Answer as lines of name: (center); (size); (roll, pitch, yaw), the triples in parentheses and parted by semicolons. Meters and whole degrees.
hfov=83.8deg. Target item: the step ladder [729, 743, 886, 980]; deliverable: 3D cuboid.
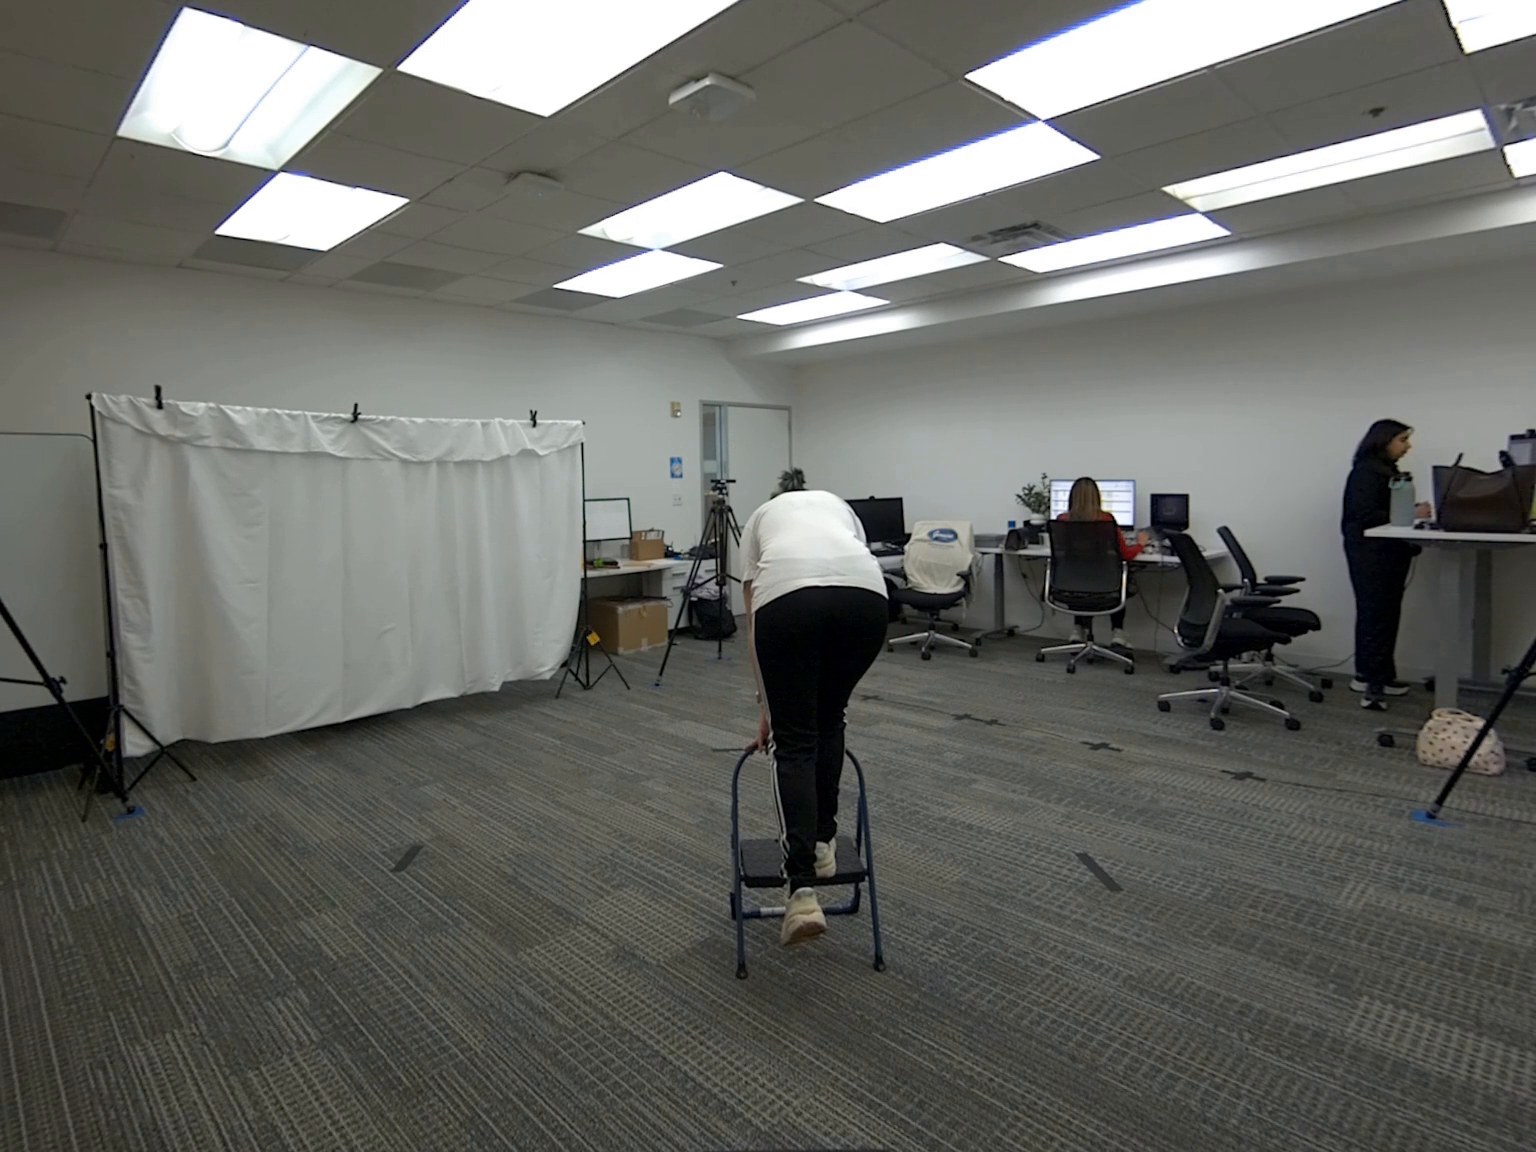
step ladder: (0.103, 0.809, 2.563); (0.429, 0.604, 0.352); (-2, 4, -5)
